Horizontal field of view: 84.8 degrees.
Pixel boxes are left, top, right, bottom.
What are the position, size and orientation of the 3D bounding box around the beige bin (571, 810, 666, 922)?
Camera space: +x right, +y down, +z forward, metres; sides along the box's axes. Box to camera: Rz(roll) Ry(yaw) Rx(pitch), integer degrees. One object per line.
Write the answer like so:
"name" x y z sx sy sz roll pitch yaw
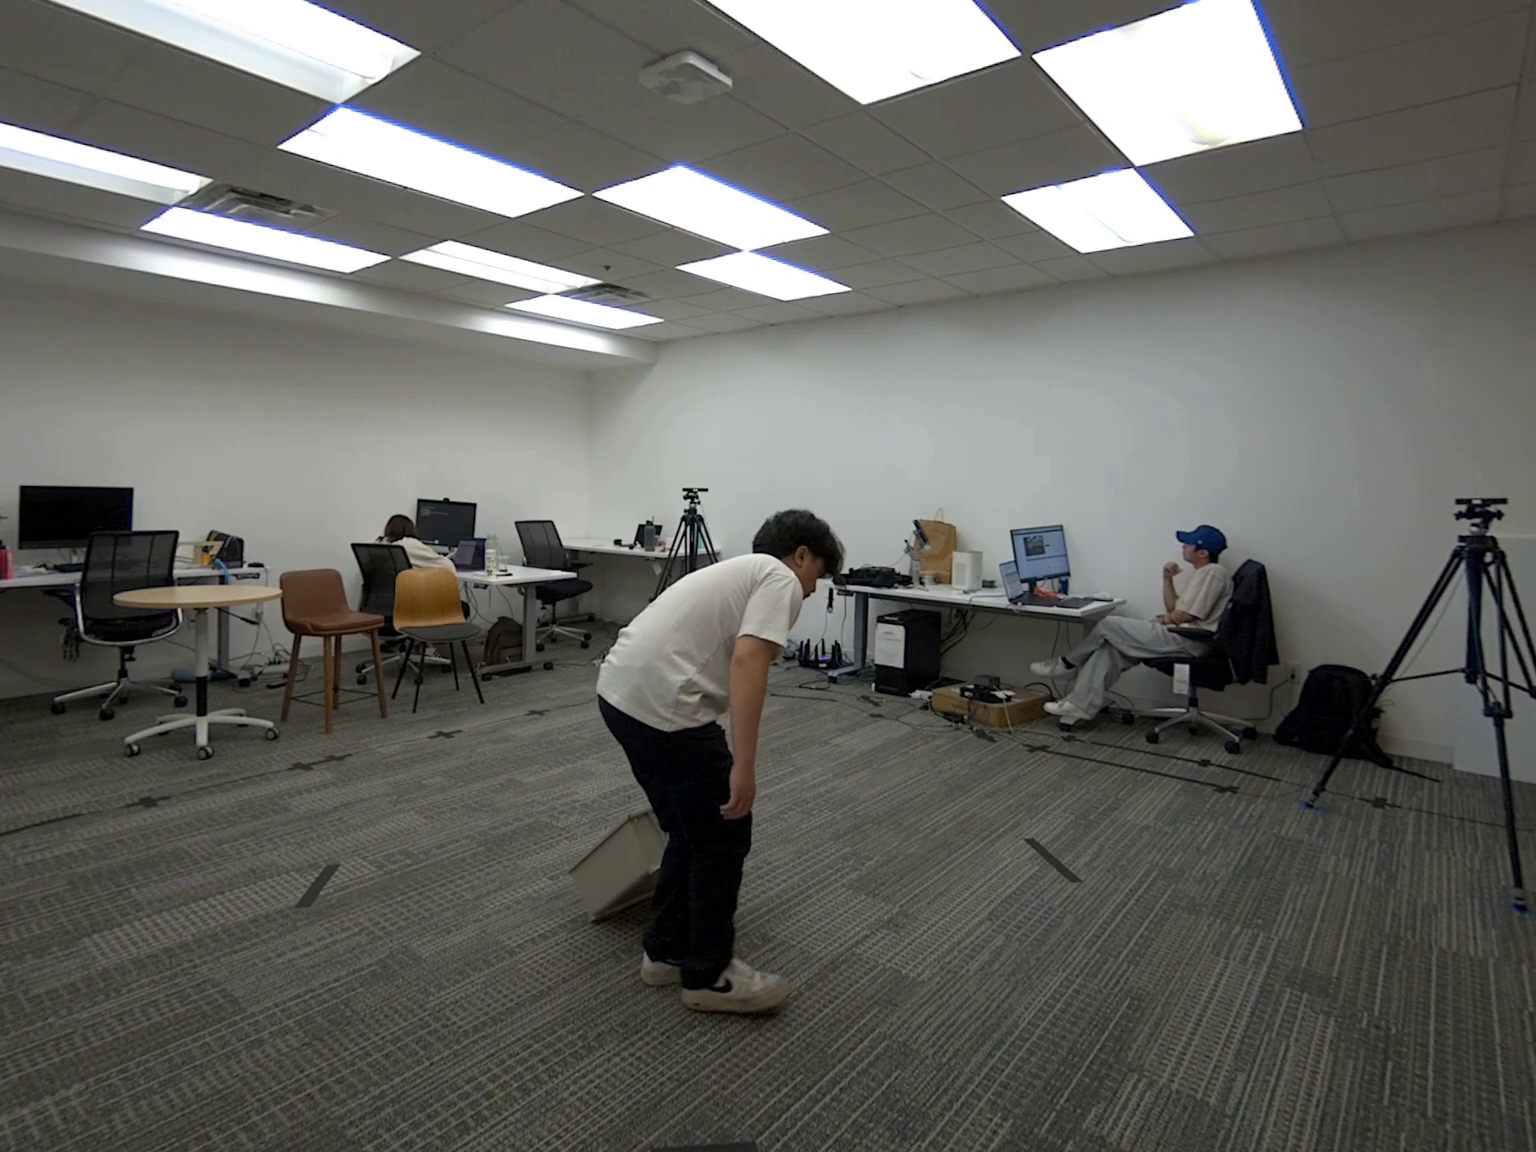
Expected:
"beige bin" -0.389 0.897 2.753 0.366 0.194 0.423 -5 -32 -49
